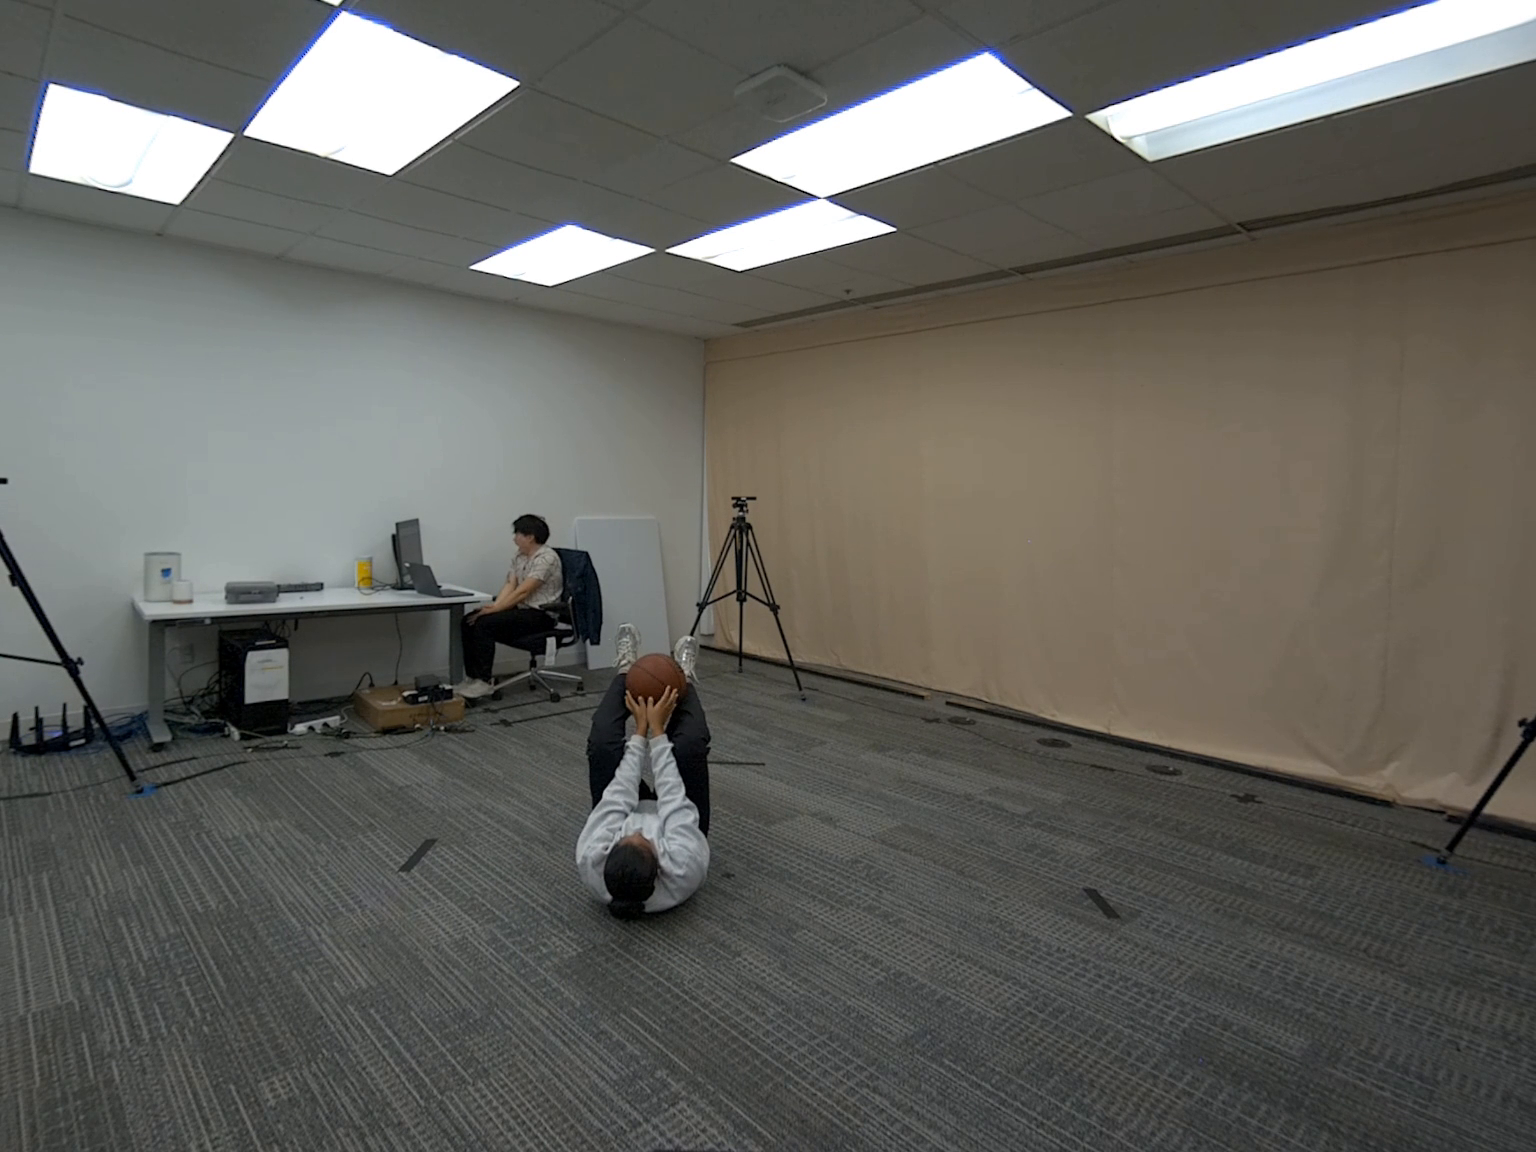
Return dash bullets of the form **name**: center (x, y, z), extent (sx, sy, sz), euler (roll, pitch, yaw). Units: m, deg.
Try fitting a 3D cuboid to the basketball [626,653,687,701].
- **basketball**: center (-0.443, 0.421, 3.301), extent (0.236, 0.235, 0.237), euler (1, 4, -1)
